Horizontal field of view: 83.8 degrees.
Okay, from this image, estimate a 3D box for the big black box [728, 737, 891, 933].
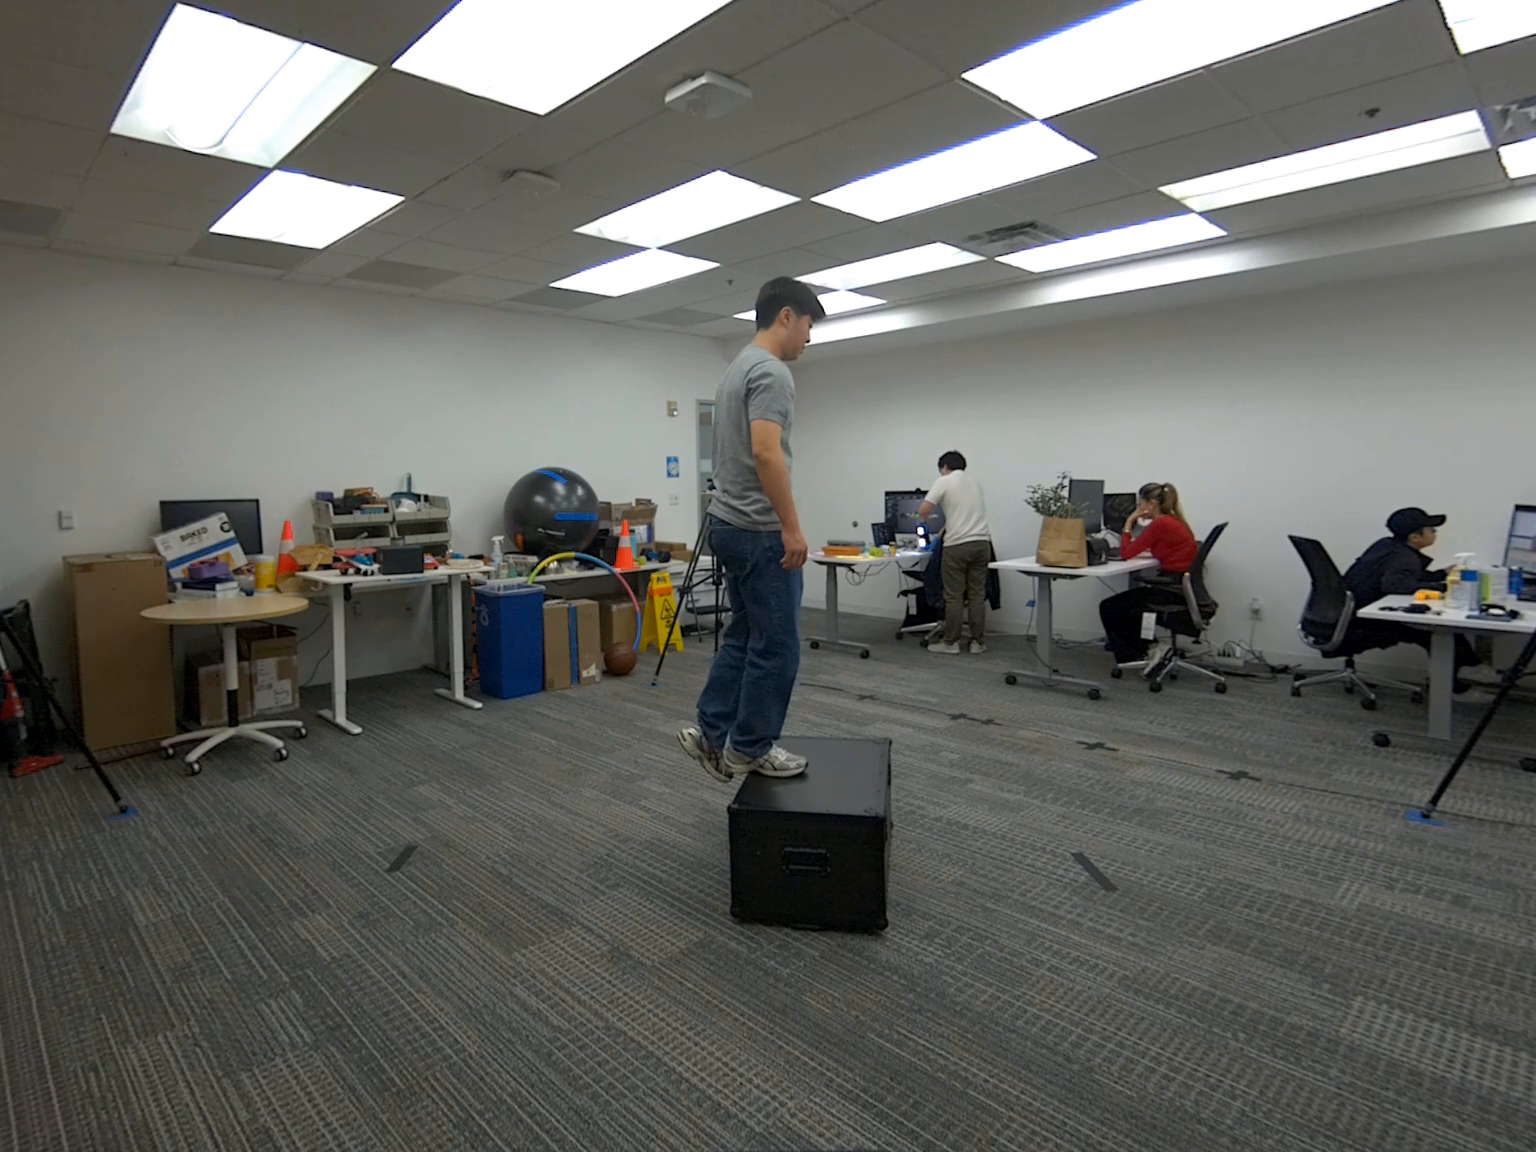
[{"bbox_3d":[0.188,0.856,3.032,0.527,0.394,0.856,-1,6,11],"label":"big black box"}]
